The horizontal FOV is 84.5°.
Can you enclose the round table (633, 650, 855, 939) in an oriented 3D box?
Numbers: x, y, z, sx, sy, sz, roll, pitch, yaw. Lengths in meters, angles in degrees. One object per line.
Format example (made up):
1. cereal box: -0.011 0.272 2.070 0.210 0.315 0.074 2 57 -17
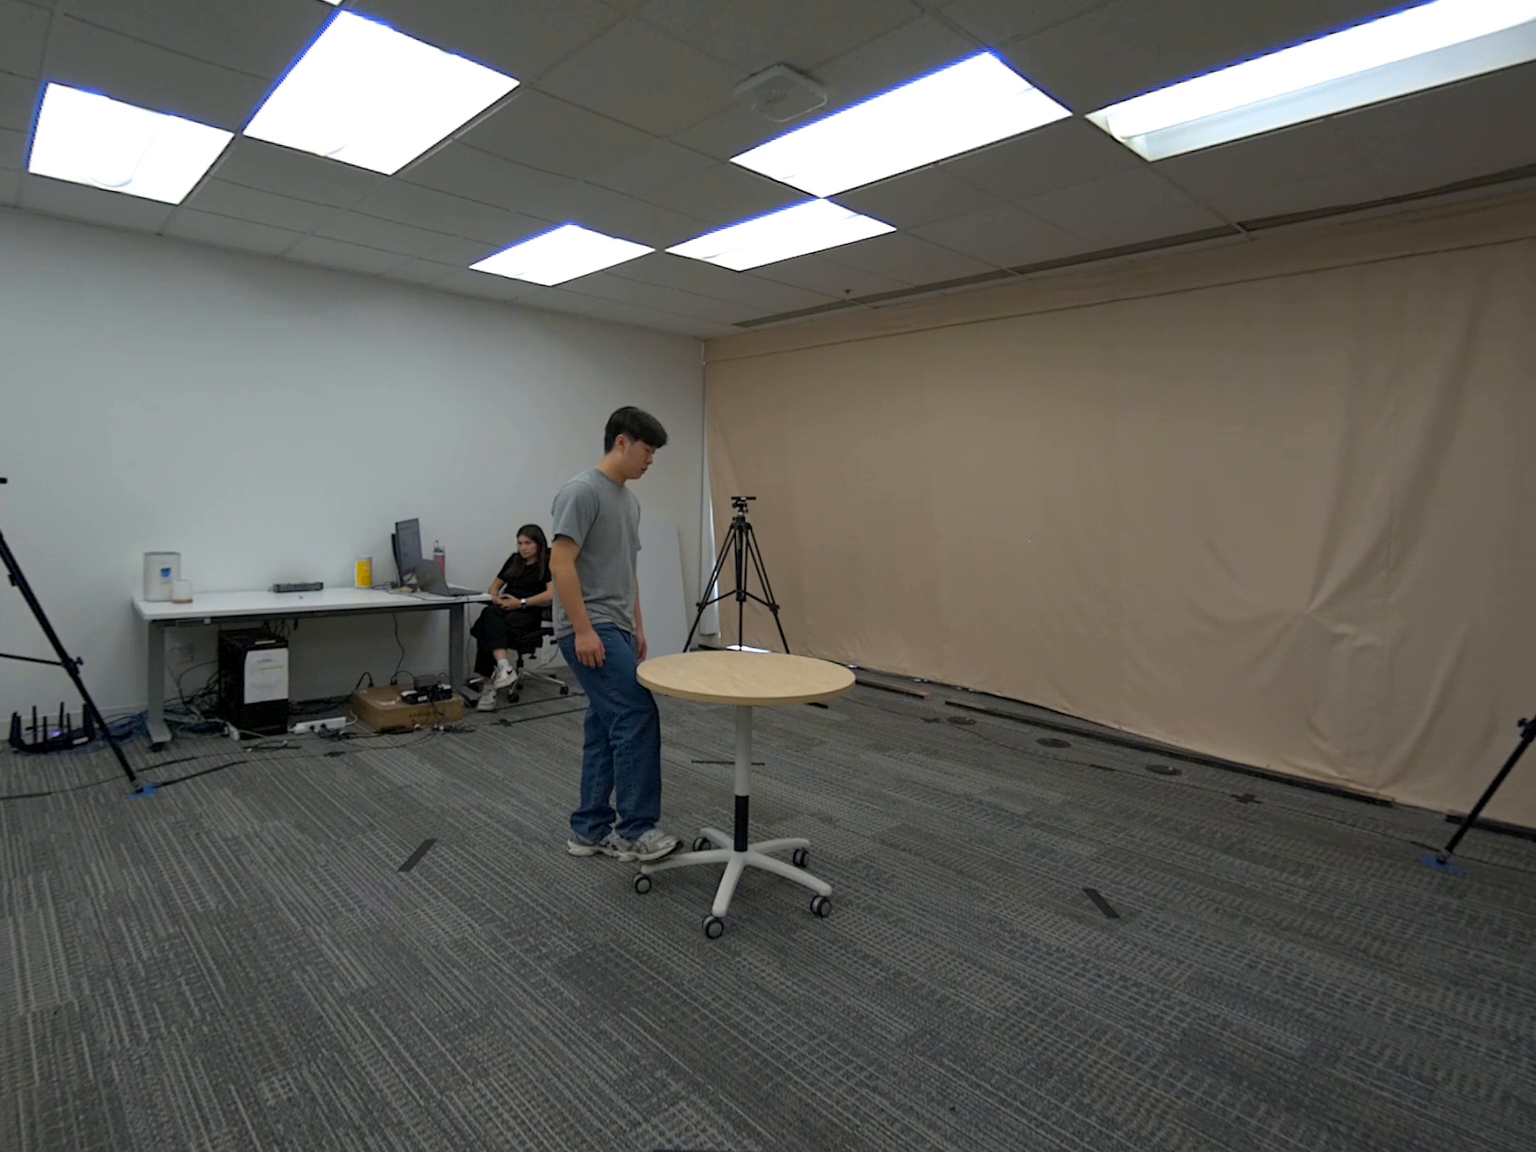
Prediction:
1. round table: -0.095 0.730 2.969 0.763 0.792 0.767 2 4 -1
